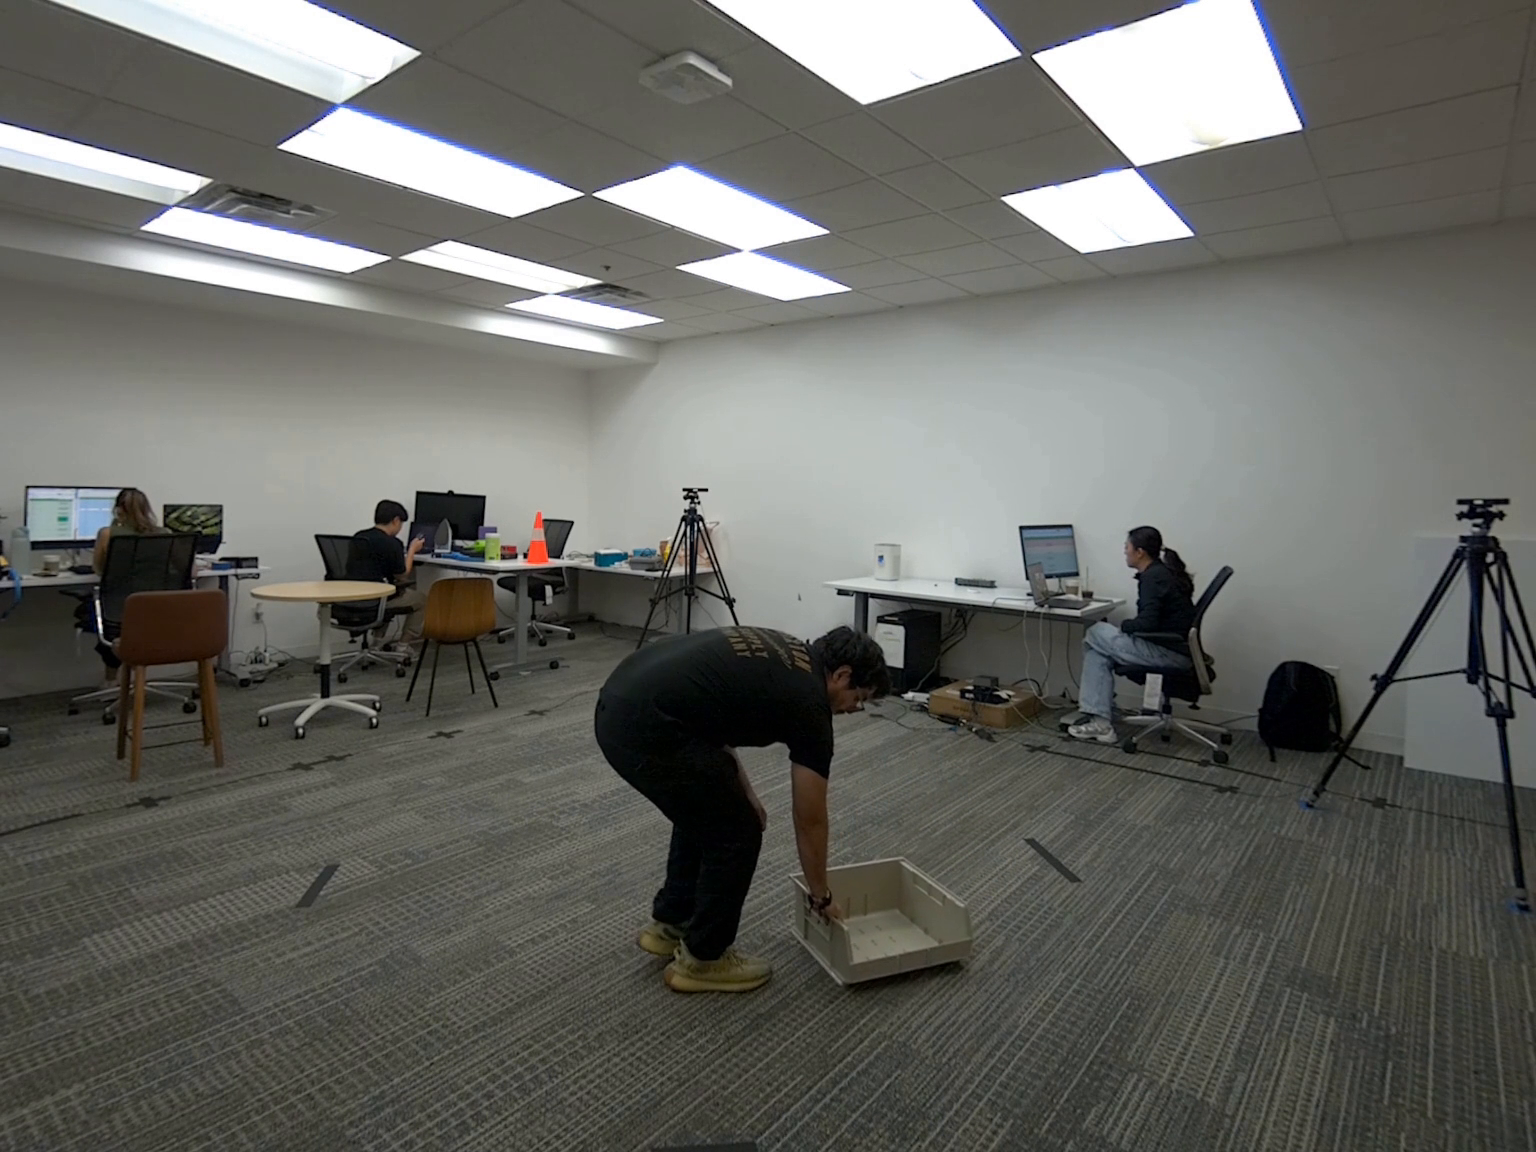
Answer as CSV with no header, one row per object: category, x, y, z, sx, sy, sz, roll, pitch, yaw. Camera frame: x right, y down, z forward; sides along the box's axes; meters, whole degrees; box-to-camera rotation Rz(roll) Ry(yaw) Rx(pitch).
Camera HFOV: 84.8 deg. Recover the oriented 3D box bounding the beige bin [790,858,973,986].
beige bin,0.330,1.039,2.586,0.413,0.188,0.387,-2,5,-24
